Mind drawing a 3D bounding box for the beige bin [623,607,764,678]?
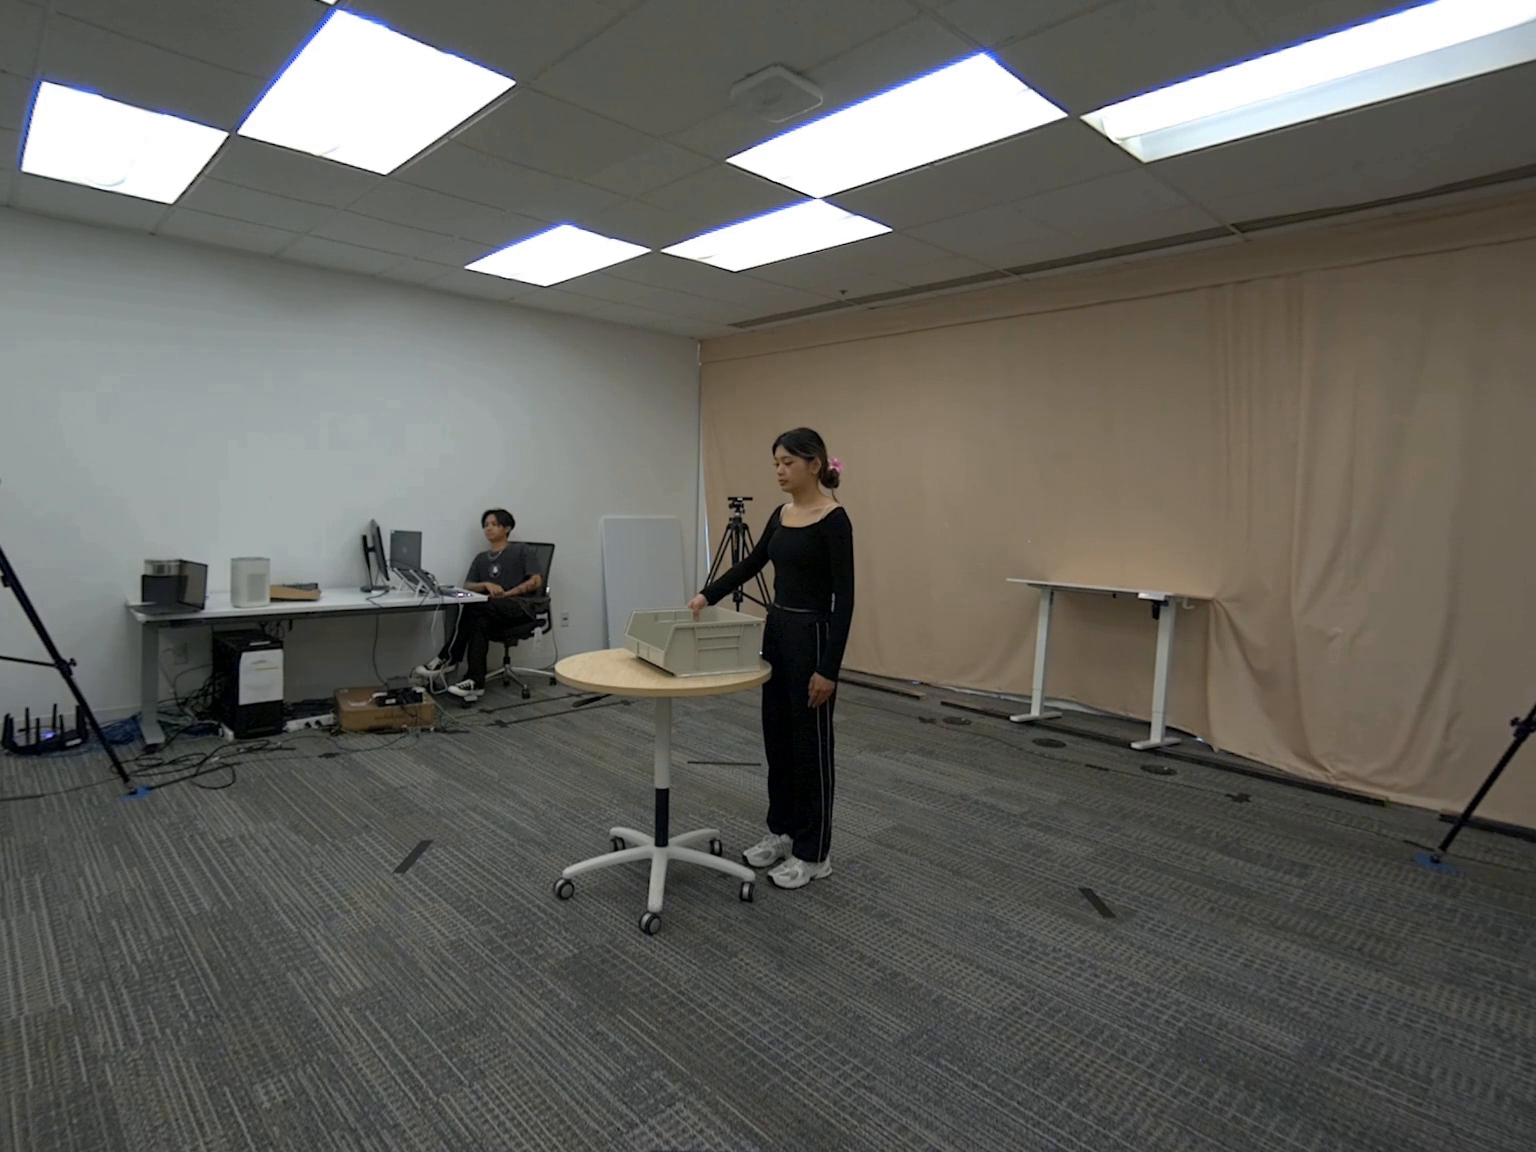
[{"bbox_3d":[-0.281,0.227,3.010,0.370,0.188,0.431,0,4,-27],"label":"beige bin"}]
